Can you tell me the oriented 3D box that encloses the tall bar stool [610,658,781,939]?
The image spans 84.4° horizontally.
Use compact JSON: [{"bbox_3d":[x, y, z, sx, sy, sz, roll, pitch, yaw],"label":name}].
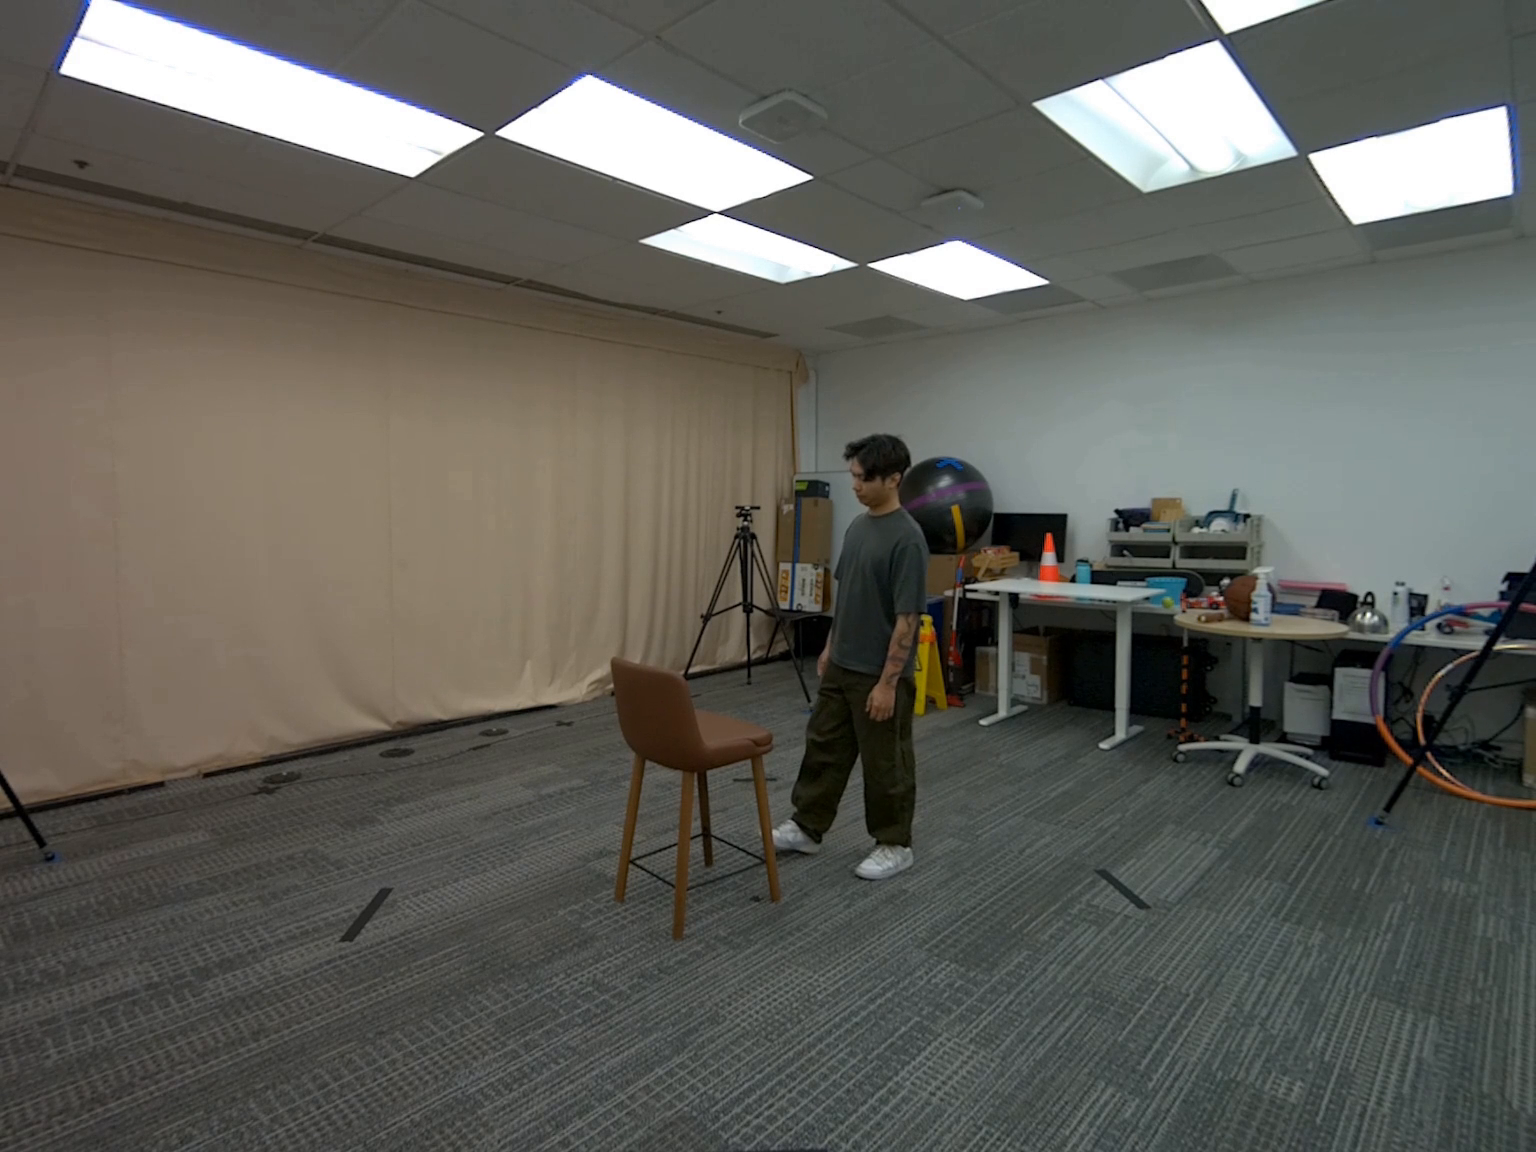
[{"bbox_3d":[-0.255,0.709,2.954,0.454,0.887,0.471,-6,6,-41],"label":"tall bar stool"}]
